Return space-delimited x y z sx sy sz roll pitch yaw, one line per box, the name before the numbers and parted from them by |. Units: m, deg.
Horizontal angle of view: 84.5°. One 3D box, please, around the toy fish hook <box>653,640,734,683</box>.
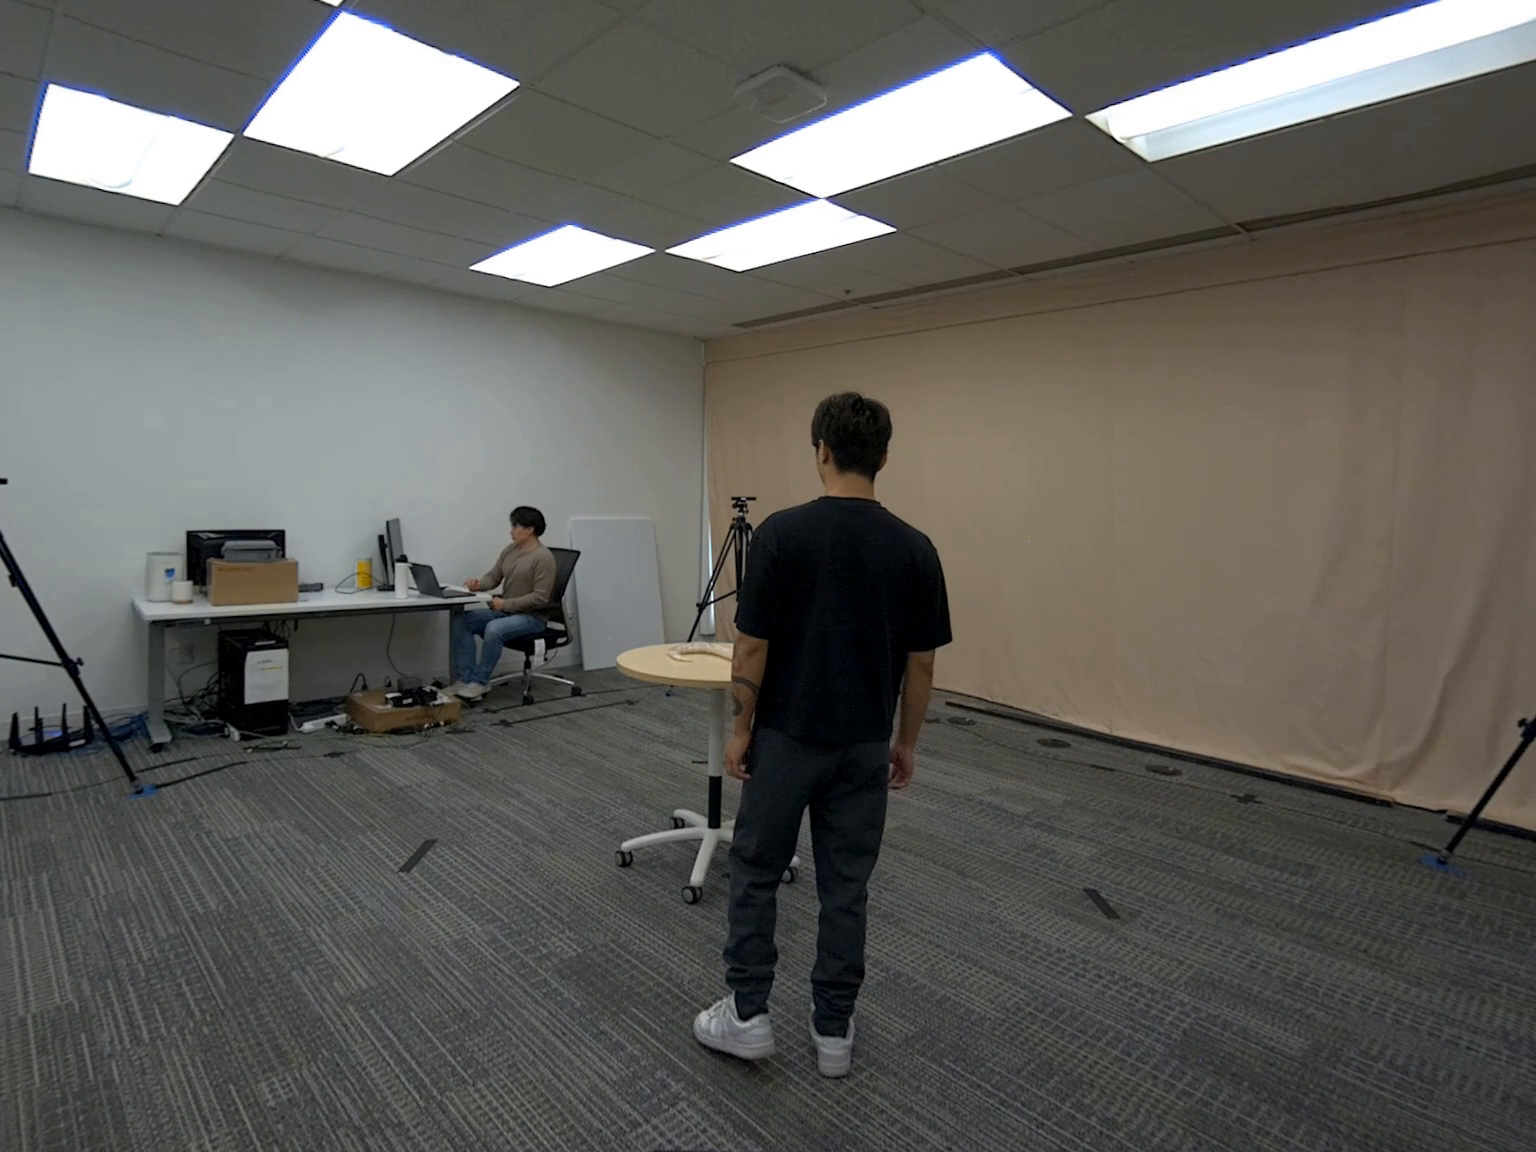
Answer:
toy fish hook | -0.182 0.312 3.119 0.220 0.048 0.519 -11 11 -41
